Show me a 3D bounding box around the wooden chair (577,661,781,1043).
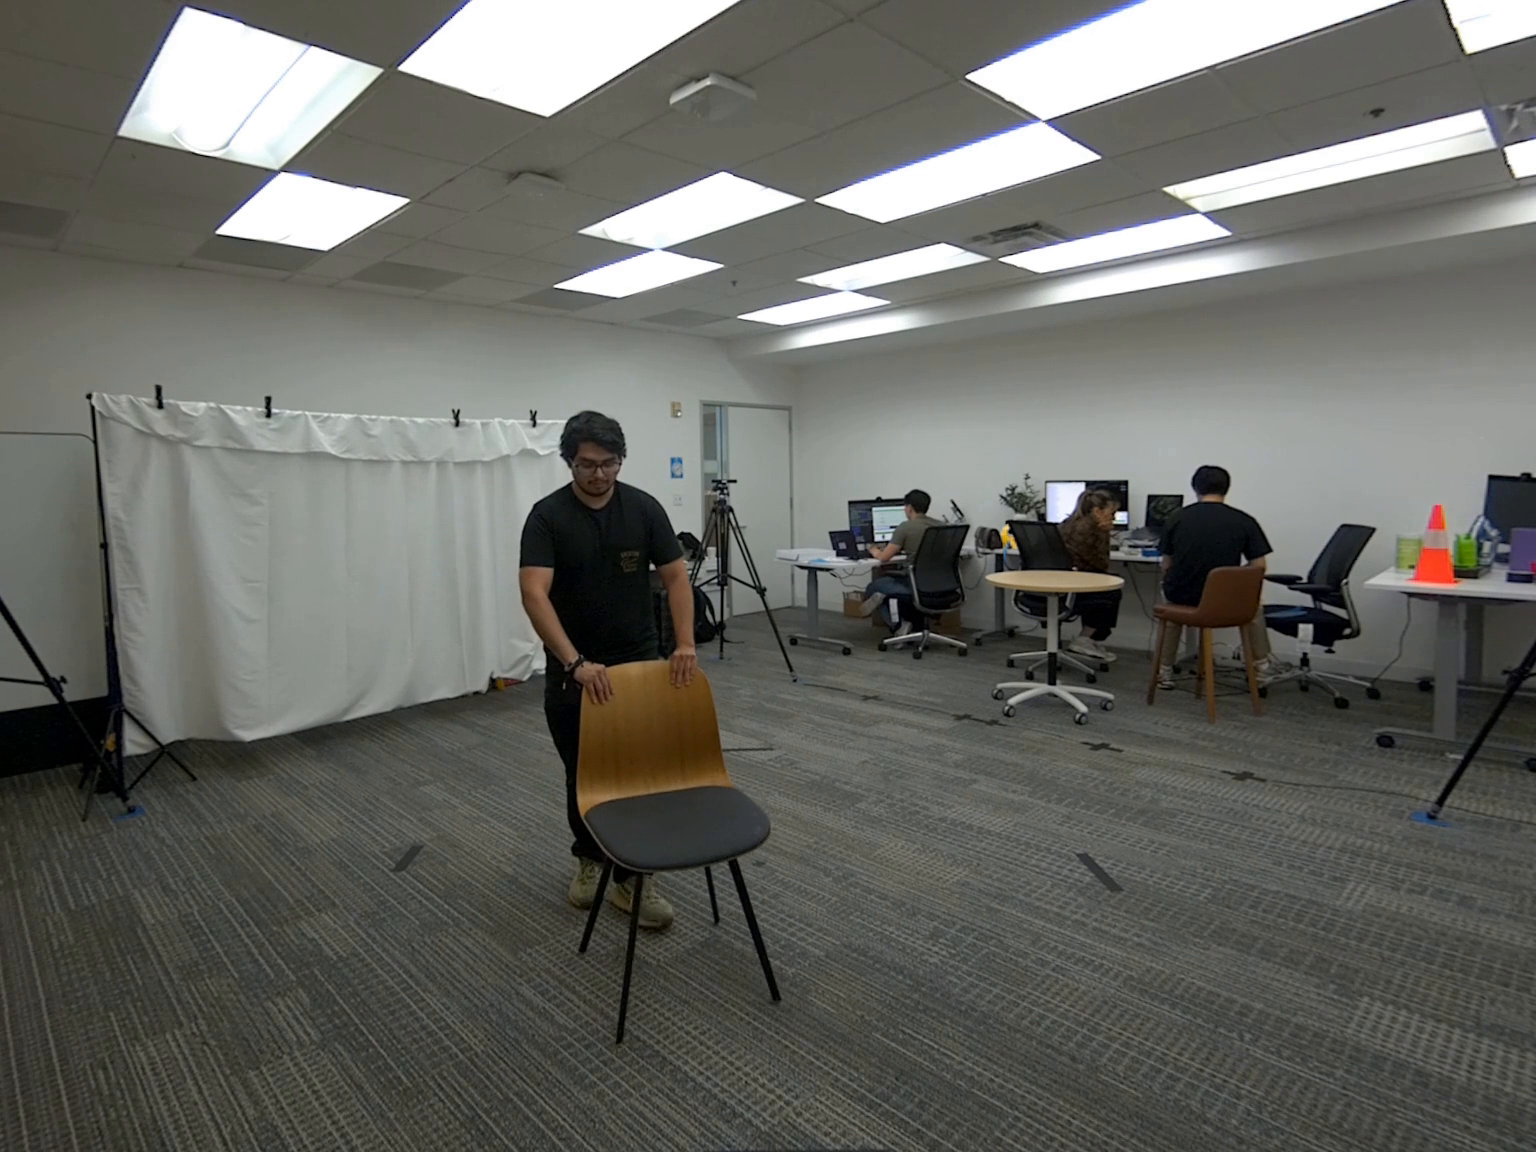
[{"bbox_3d":[-0.263,0.708,2.376,0.469,0.877,0.533,-3,0,-23],"label":"wooden chair"}]
